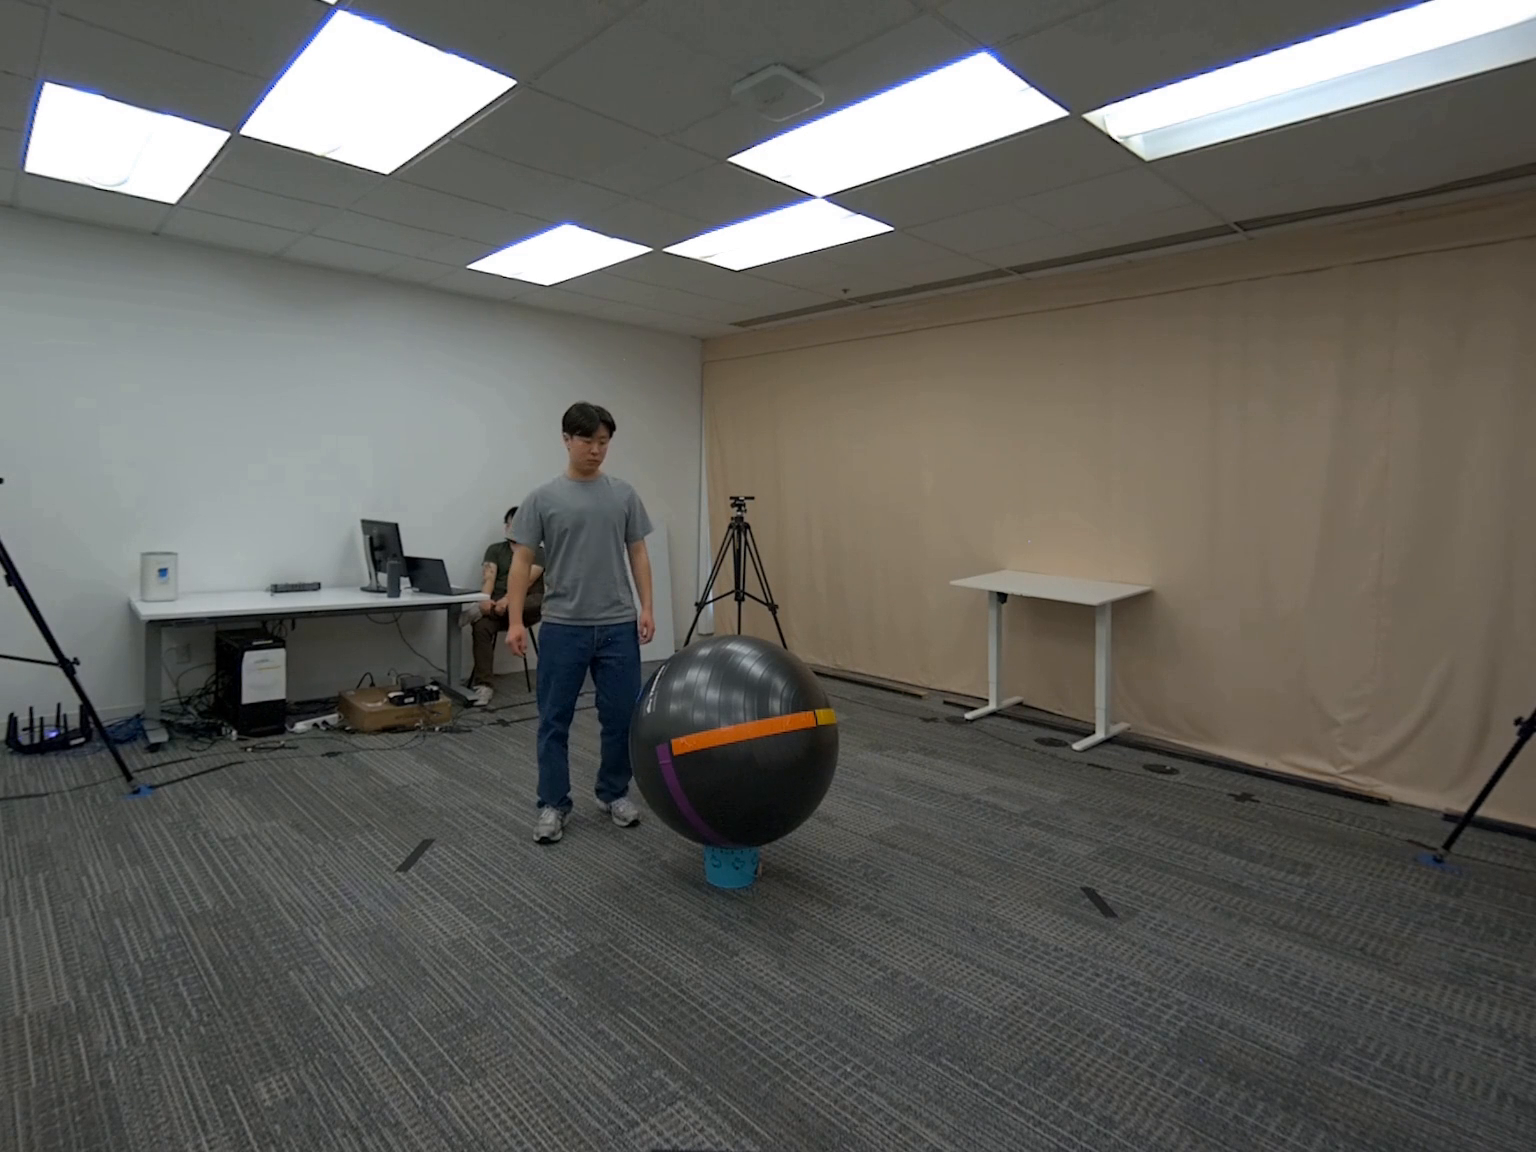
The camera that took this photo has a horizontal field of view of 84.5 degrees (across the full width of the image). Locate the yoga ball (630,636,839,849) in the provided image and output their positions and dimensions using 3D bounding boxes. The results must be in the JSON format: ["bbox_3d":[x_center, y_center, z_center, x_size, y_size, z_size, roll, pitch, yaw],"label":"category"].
[{"bbox_3d":[-0.129,0.598,3.062,0.757,0.756,0.761,1,4,-1],"label":"yoga ball"}]
